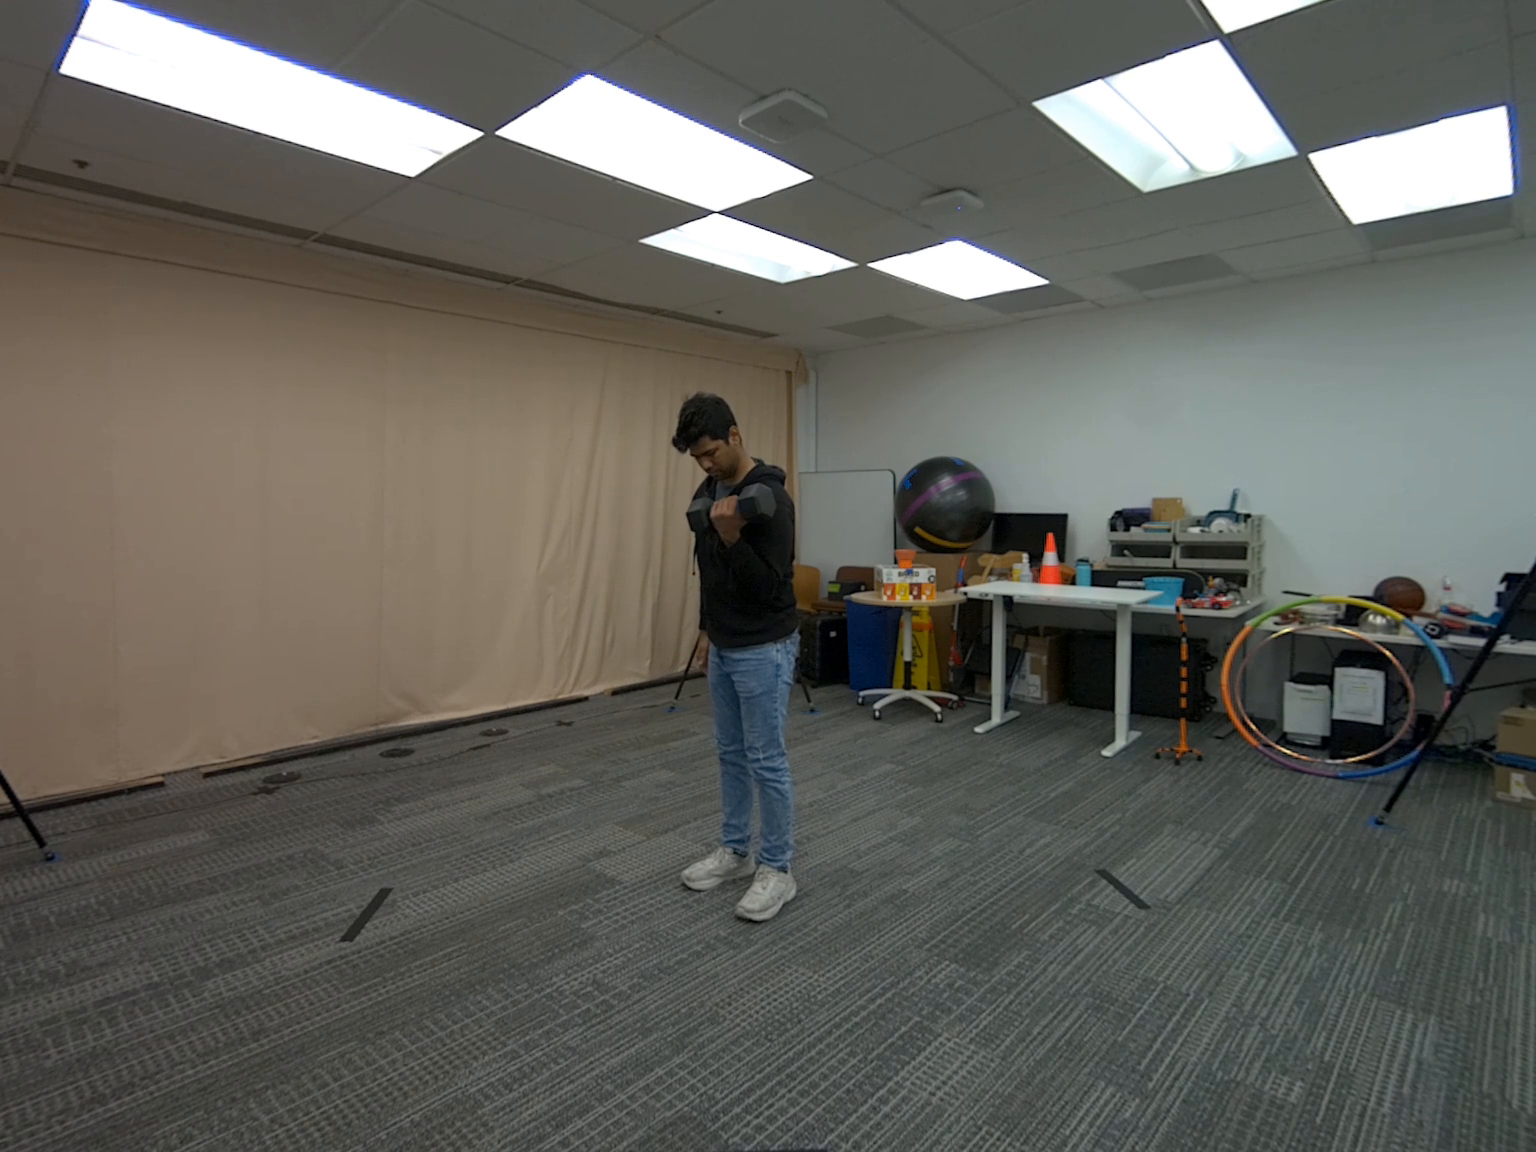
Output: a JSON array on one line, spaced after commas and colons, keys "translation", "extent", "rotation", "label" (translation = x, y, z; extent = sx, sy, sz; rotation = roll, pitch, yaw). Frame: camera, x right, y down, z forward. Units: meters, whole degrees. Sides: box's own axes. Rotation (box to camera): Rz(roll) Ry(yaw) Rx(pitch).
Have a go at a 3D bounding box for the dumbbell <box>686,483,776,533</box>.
[{"translation": [-0.125, -0.188, 2.675], "extent": [0.301, 0.122, 0.107], "rotation": [-11, 12, 38], "label": "dumbbell"}]
